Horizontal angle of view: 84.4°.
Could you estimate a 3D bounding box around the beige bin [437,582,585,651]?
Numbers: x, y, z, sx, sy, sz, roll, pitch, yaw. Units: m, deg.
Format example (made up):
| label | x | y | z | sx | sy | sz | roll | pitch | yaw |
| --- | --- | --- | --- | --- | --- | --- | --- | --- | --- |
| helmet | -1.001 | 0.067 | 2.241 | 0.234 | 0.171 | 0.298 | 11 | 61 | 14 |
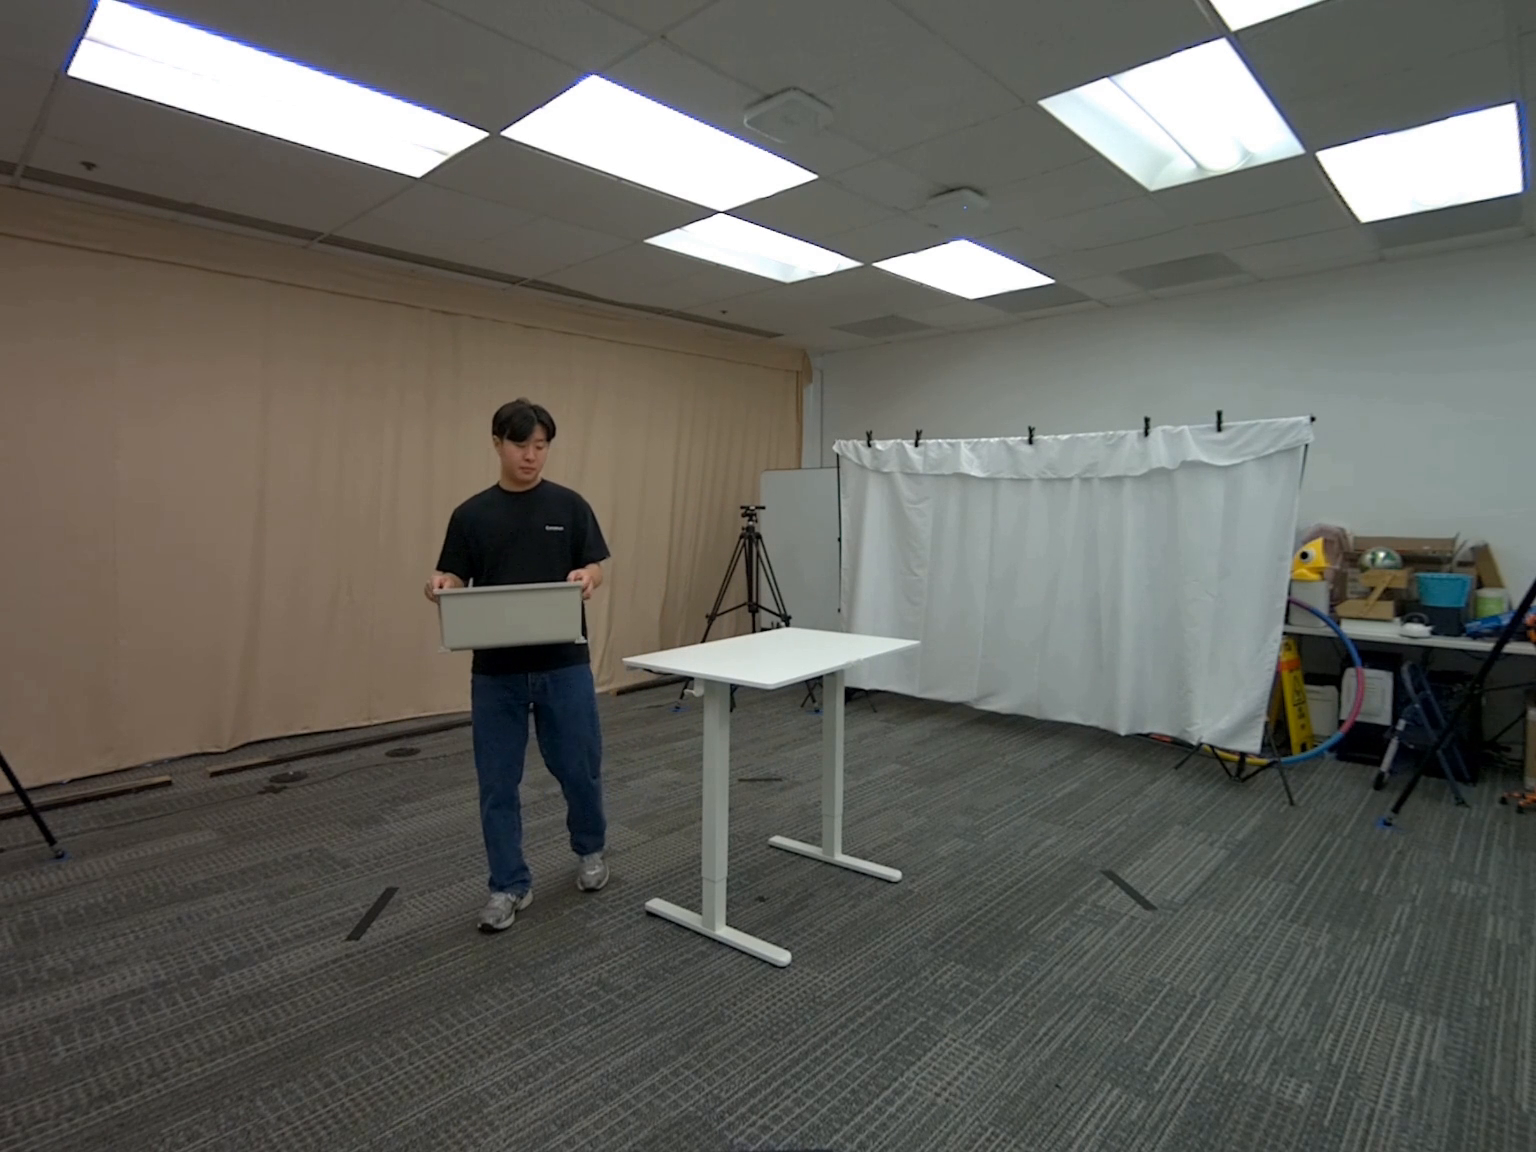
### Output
| label | x | y | z | sx | sy | sz | roll | pitch | yaw |
| --- | --- | --- | --- | --- | --- | --- | --- | --- | --- |
| beige bin | -0.783 | 0.112 | 2.561 | 0.414 | 0.188 | 0.385 | -4 | 5 | -20 |
